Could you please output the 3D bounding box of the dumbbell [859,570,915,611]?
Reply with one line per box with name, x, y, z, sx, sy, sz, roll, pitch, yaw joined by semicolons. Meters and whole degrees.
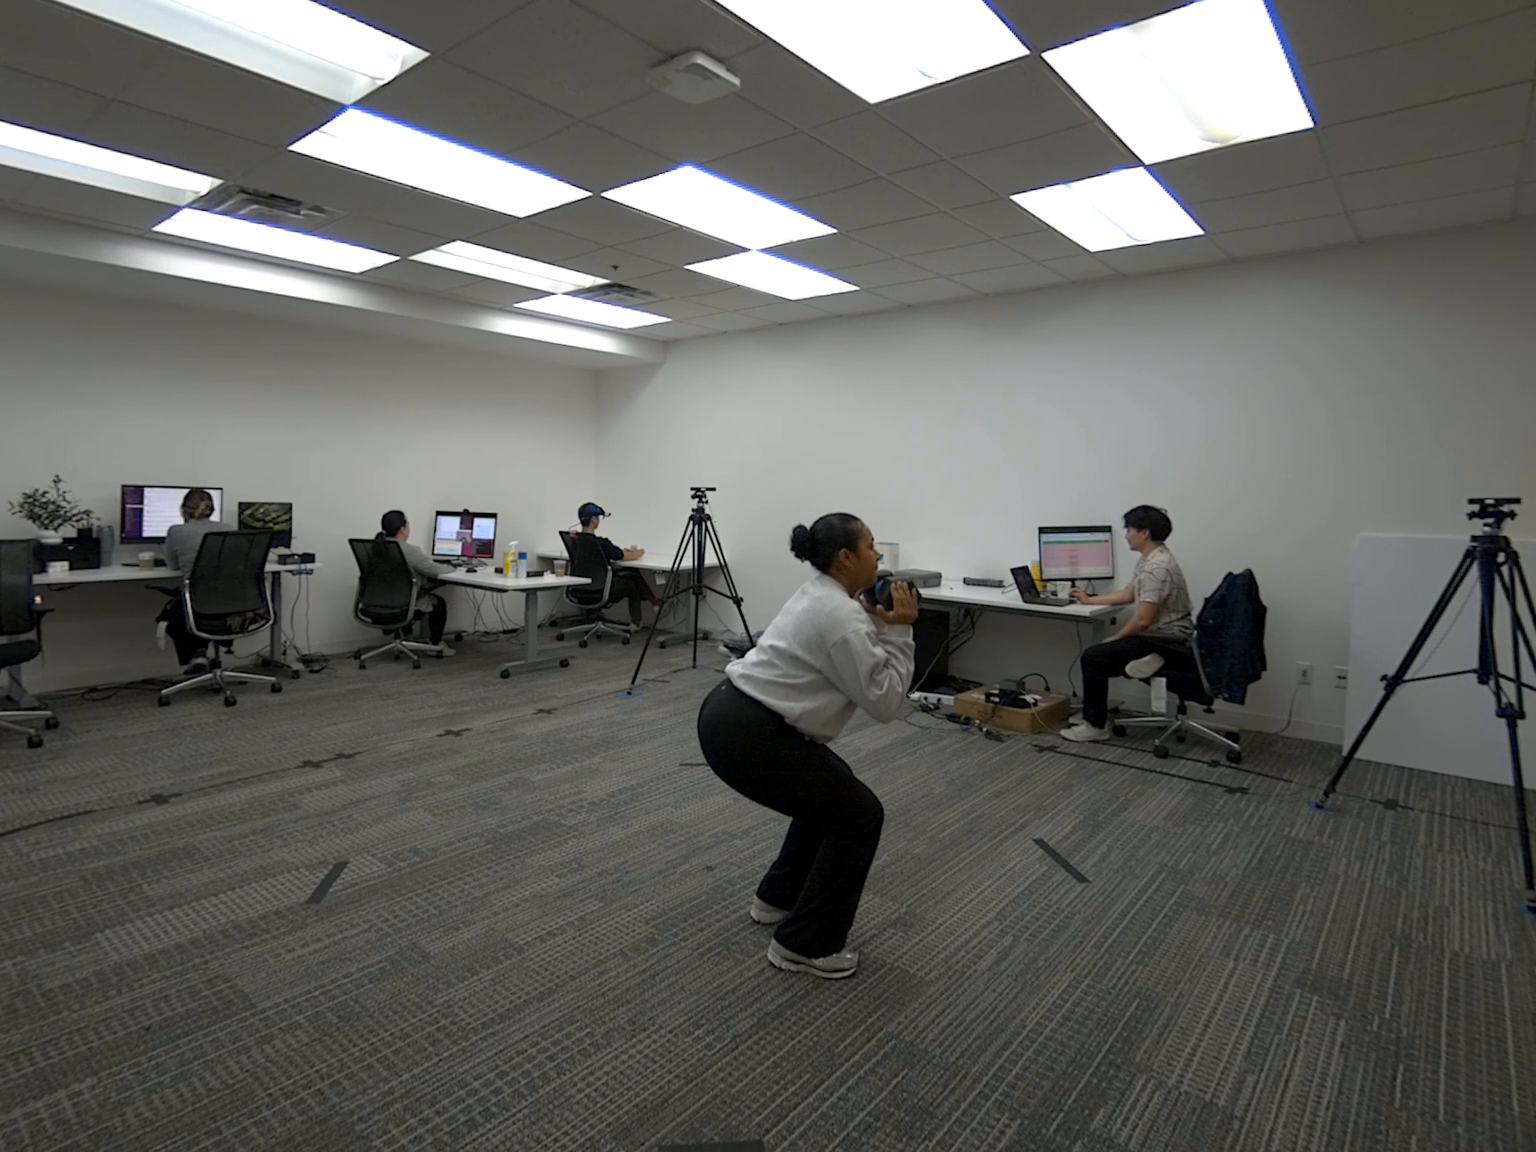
dumbbell;0.356;0.042;2.579;0.108;0.122;0.297;-34;9;-3
